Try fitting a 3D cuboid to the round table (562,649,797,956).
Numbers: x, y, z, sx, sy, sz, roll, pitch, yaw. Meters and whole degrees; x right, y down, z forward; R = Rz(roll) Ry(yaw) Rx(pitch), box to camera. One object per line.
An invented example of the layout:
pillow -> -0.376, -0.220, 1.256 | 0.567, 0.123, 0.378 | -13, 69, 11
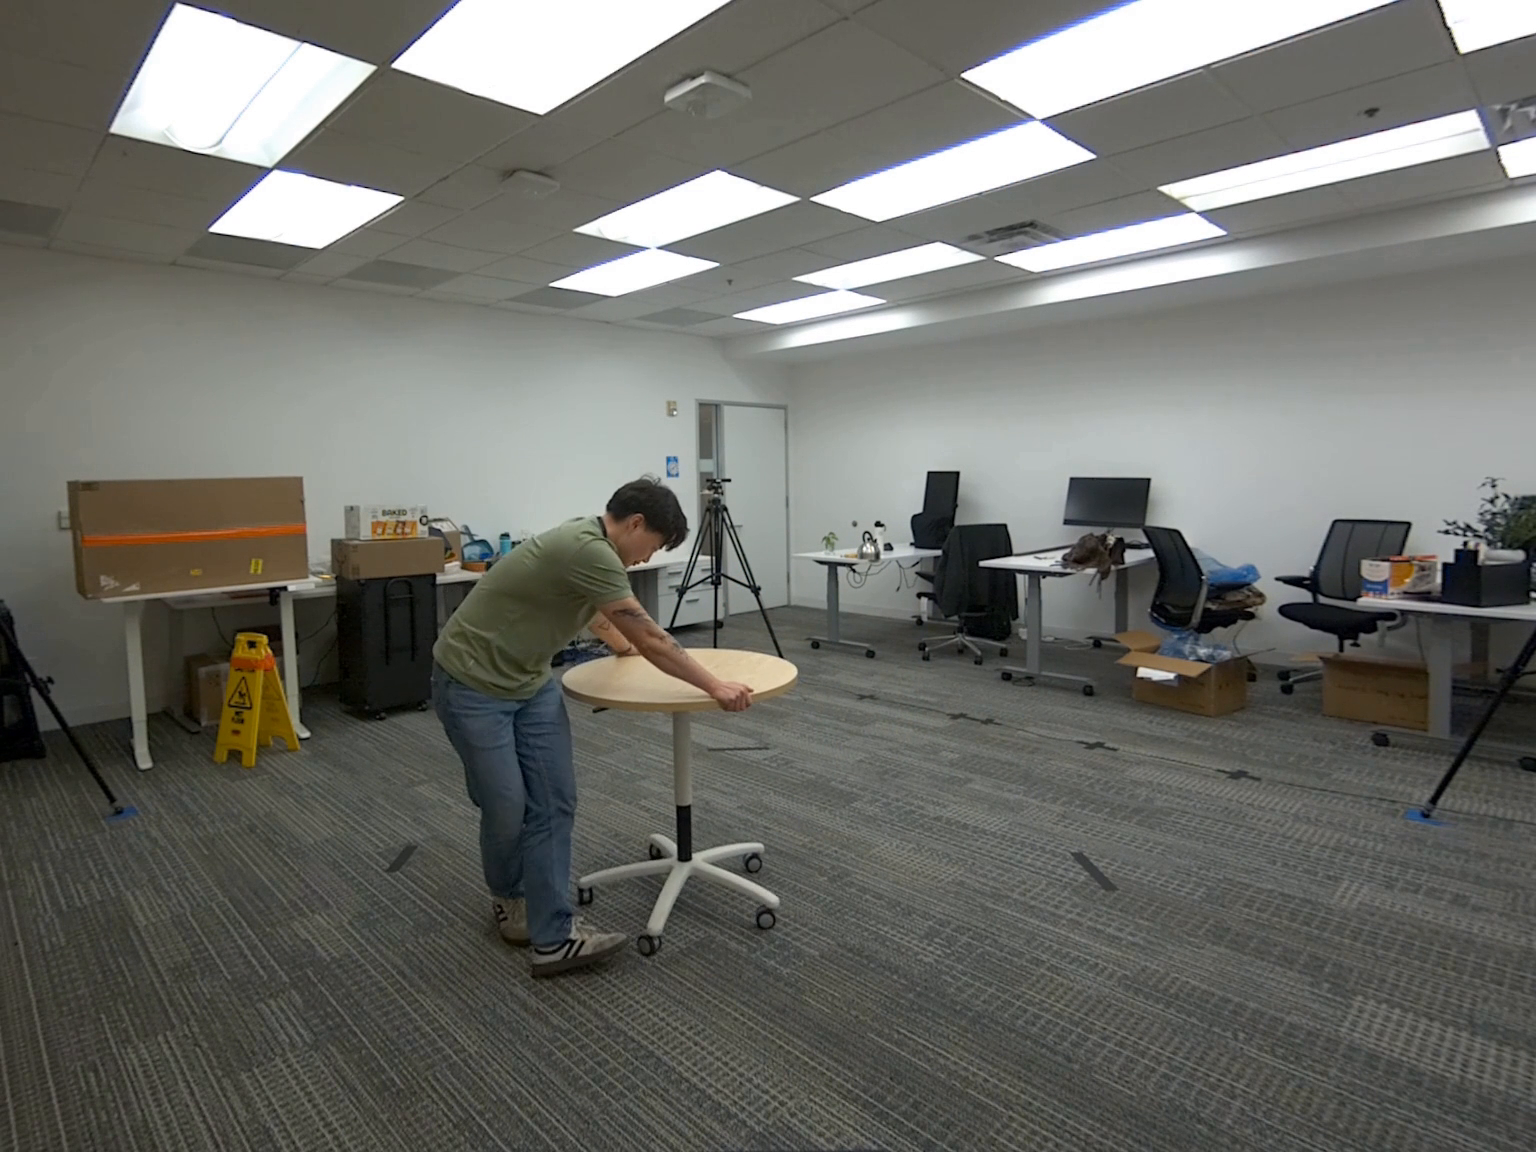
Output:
round table -> -0.276, 0.699, 2.822 | 0.763, 0.791, 0.768 | -1, 5, -2
